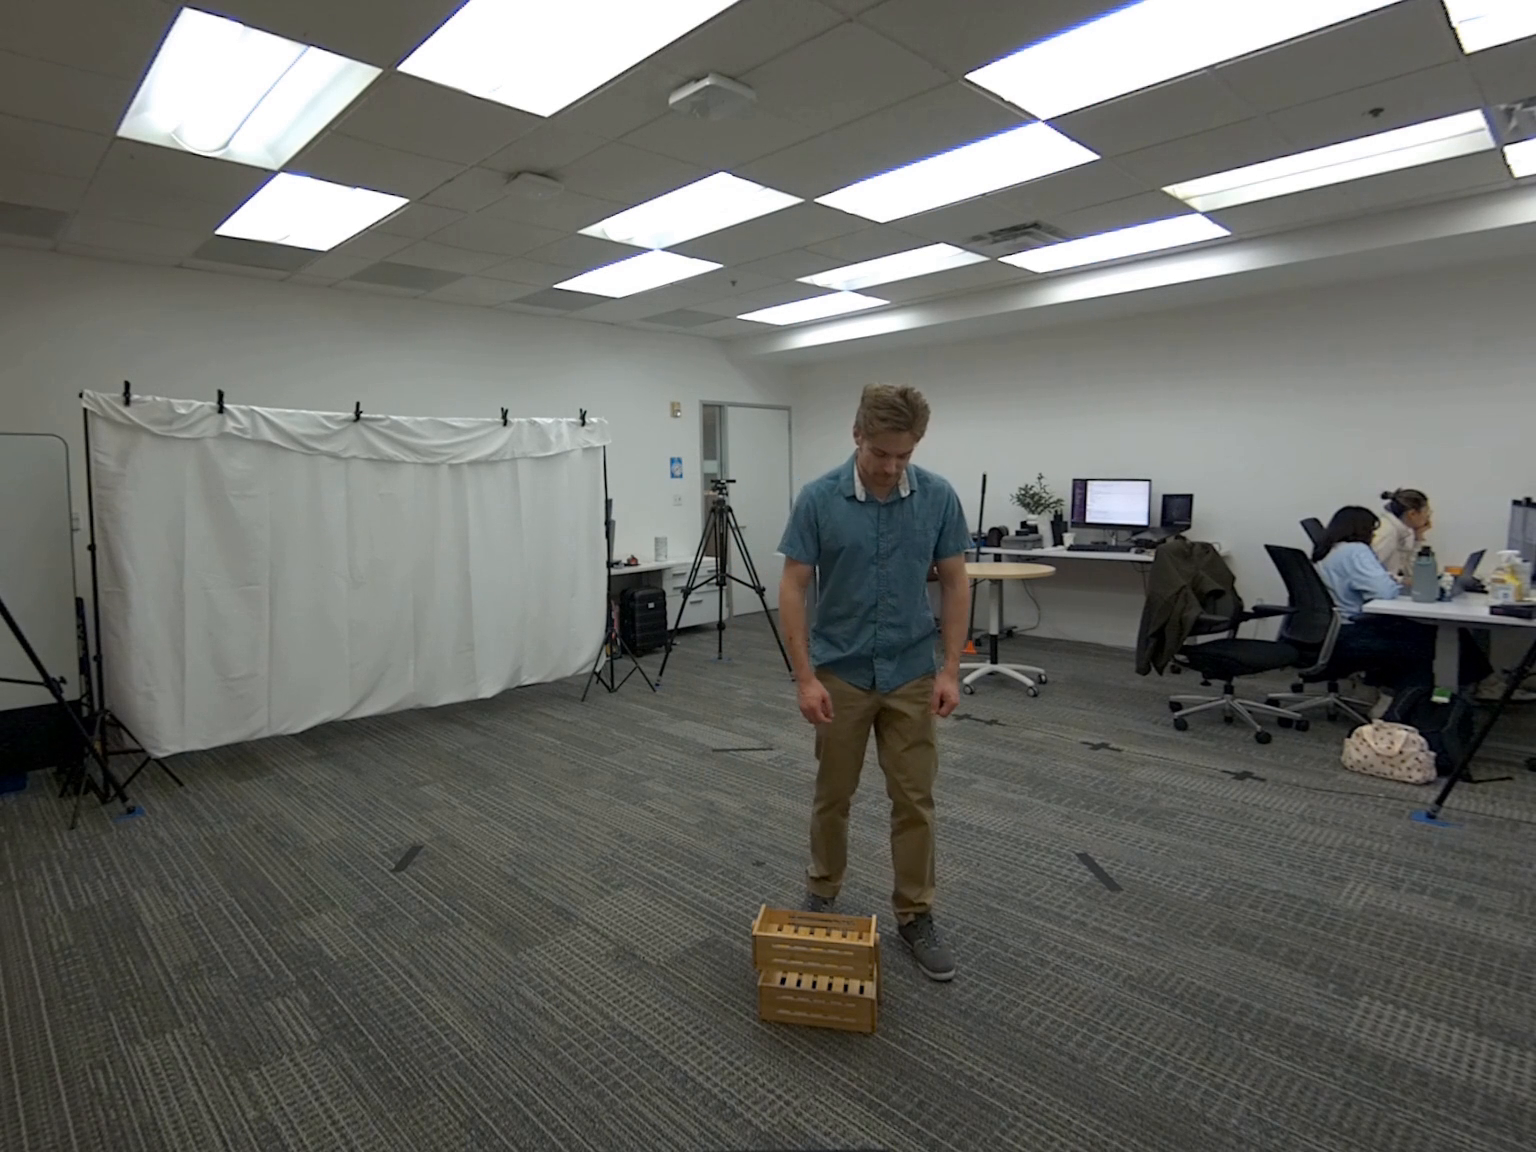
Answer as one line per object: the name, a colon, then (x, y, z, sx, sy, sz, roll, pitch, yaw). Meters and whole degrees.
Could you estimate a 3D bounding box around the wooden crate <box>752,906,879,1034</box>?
wooden crate: (0.145, 1.004, 2.273, 0.328, 0.272, 0.300, 0, 7, 11)
